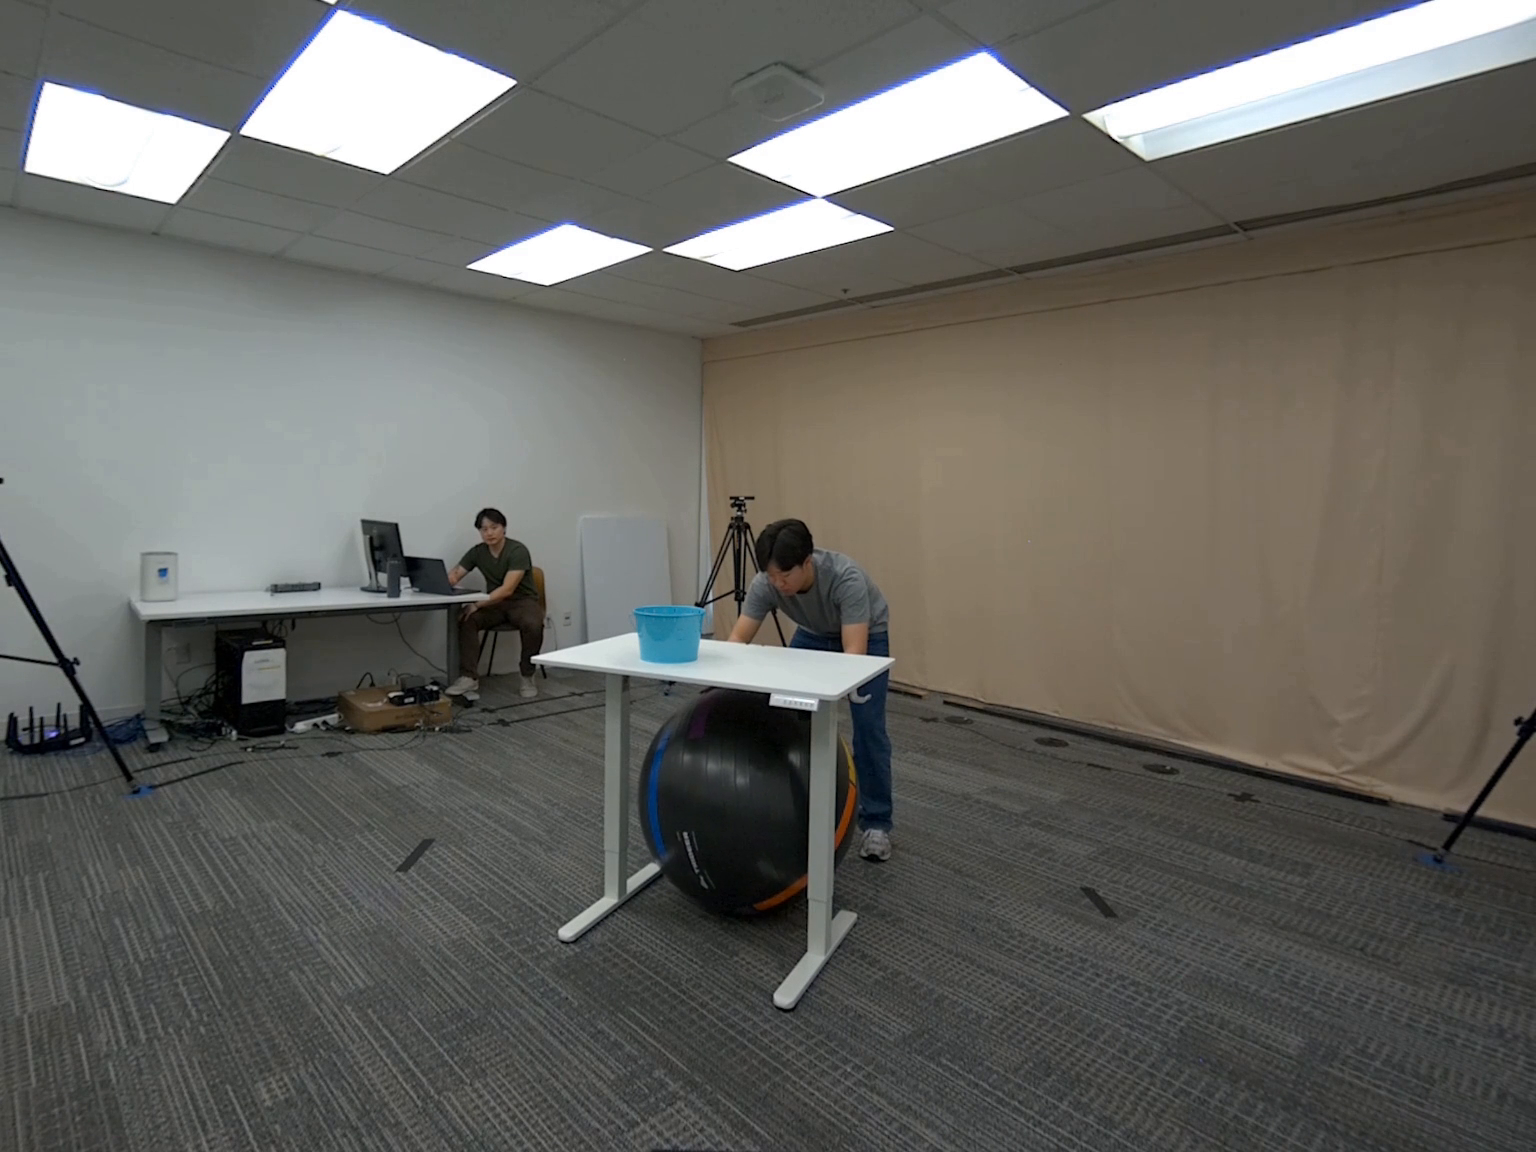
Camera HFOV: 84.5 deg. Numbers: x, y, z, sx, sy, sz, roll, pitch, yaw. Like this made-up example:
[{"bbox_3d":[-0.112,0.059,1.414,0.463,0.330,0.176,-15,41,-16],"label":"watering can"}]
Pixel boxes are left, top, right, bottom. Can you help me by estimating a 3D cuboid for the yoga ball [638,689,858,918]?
[{"bbox_3d":[-0.073,0.756,2.903,0.757,0.756,0.761,1,4,-1],"label":"yoga ball"}]
